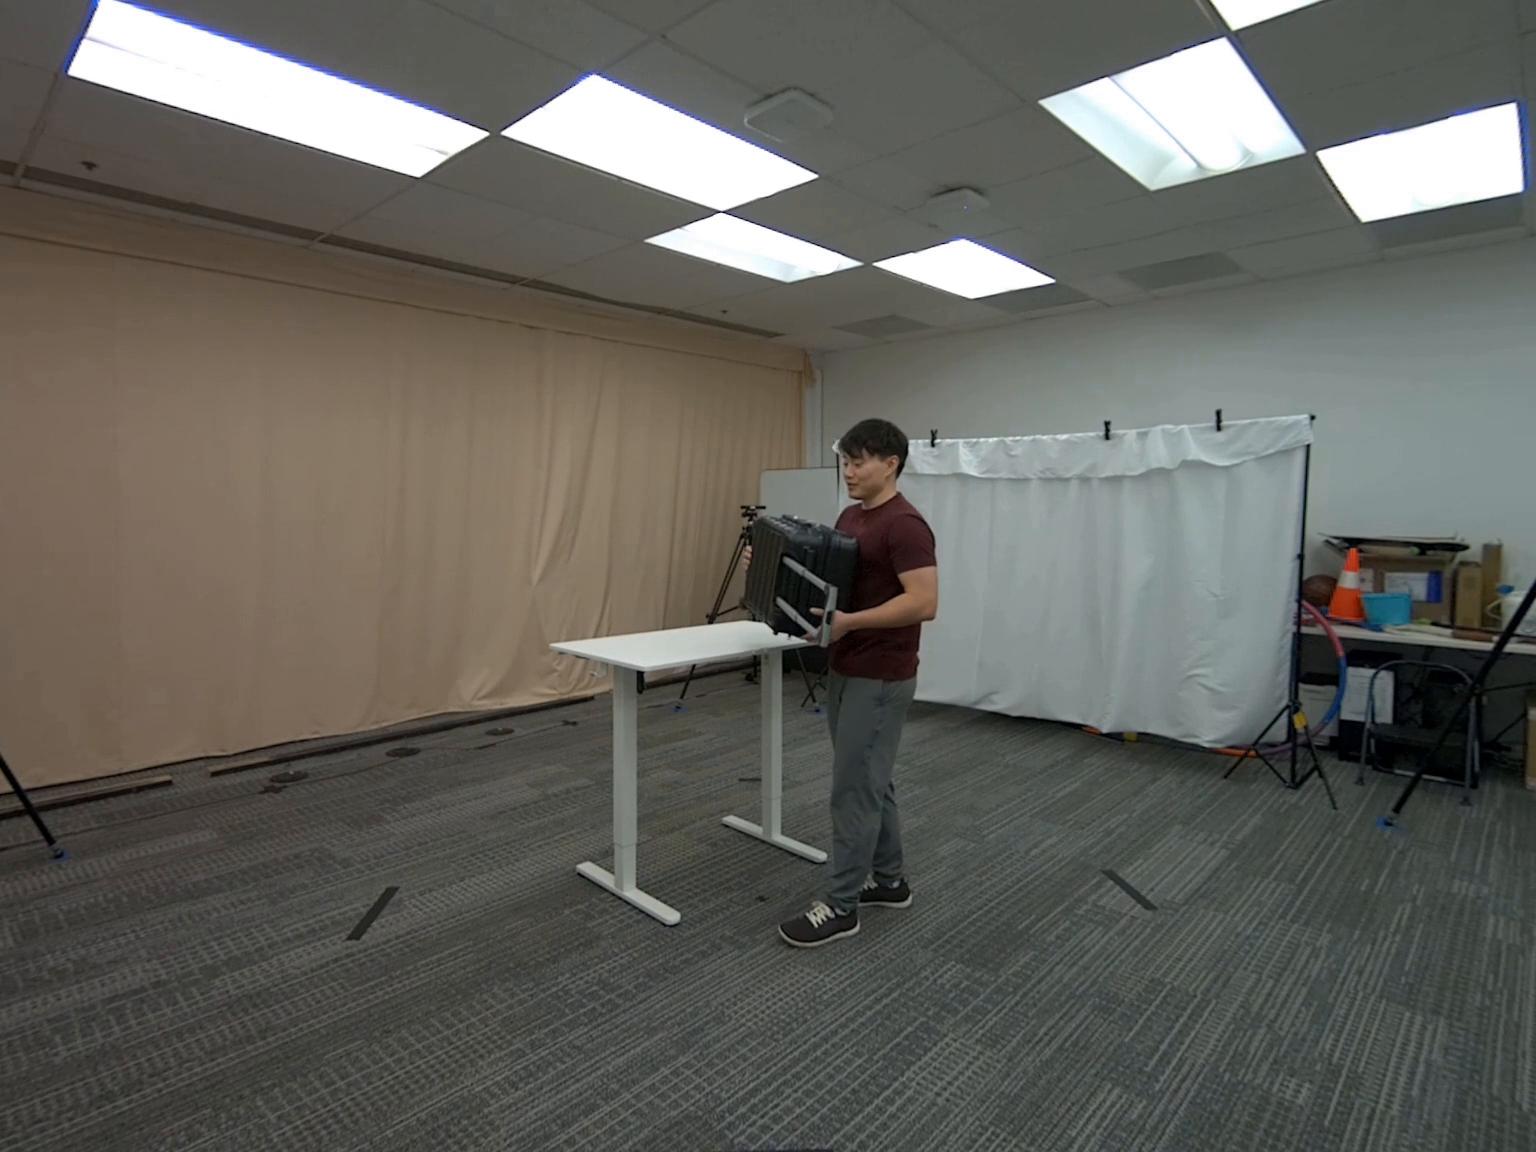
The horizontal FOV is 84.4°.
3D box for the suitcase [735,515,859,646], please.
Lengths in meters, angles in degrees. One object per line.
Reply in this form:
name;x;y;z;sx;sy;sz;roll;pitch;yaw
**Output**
suitcase;0.131;0.020;2.645;0.253;0.383;0.993;9;4;-13
